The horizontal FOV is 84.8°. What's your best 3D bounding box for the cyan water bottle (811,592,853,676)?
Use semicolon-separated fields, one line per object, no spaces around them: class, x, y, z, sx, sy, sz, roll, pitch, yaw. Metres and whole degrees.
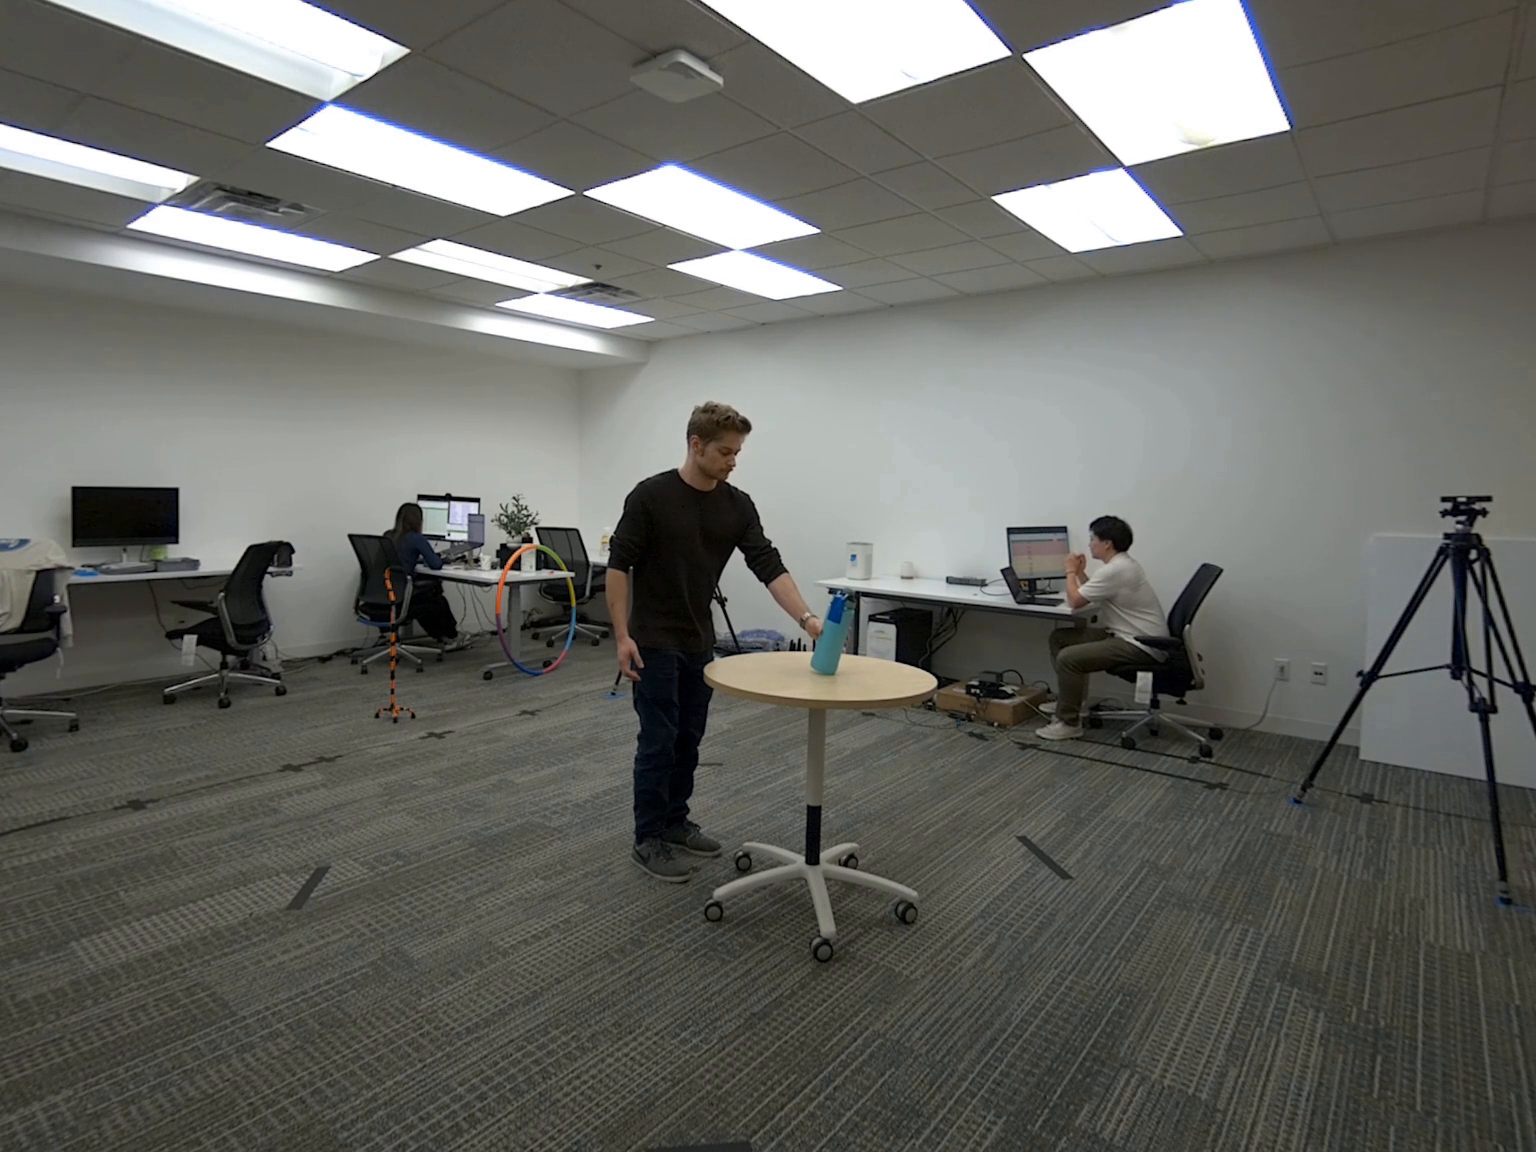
cyan water bottle;0.215;0.175;2.801;0.092;0.281;0.093;14;10;-5
